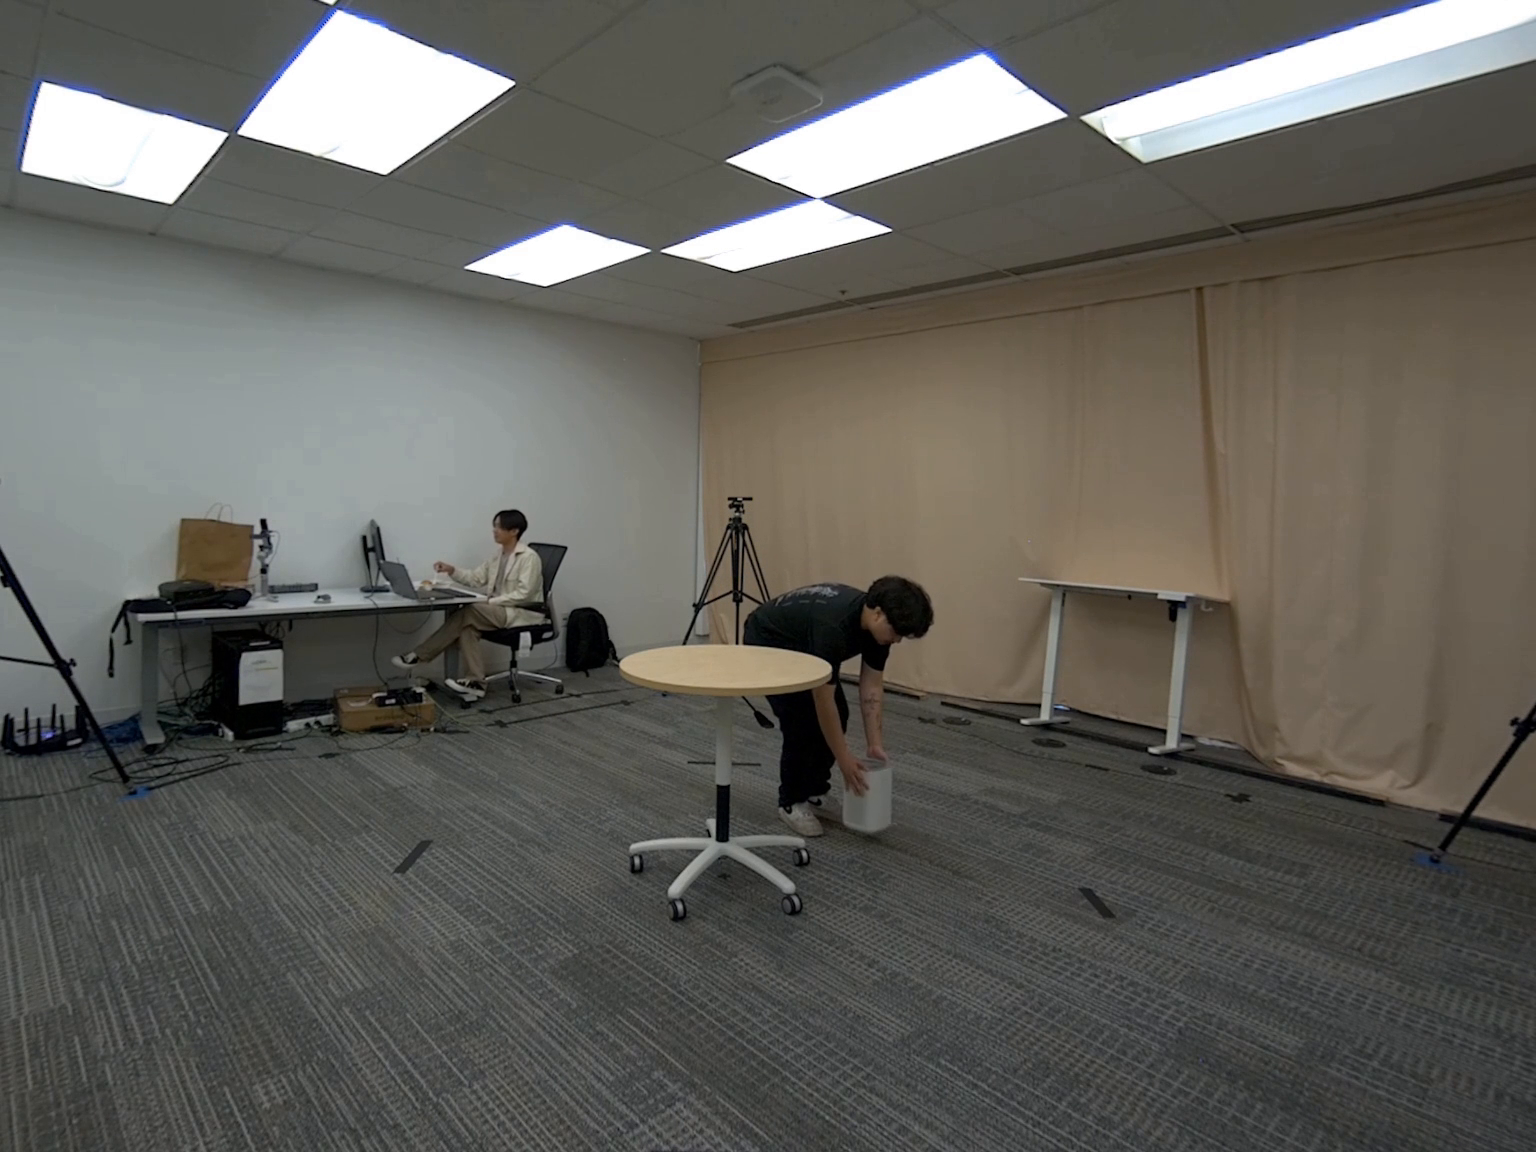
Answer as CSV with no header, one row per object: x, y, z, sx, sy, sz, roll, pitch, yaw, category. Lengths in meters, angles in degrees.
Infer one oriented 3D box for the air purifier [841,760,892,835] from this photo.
0.398,0.883,3.474,0.176,0.265,0.167,2,2,42,air purifier
